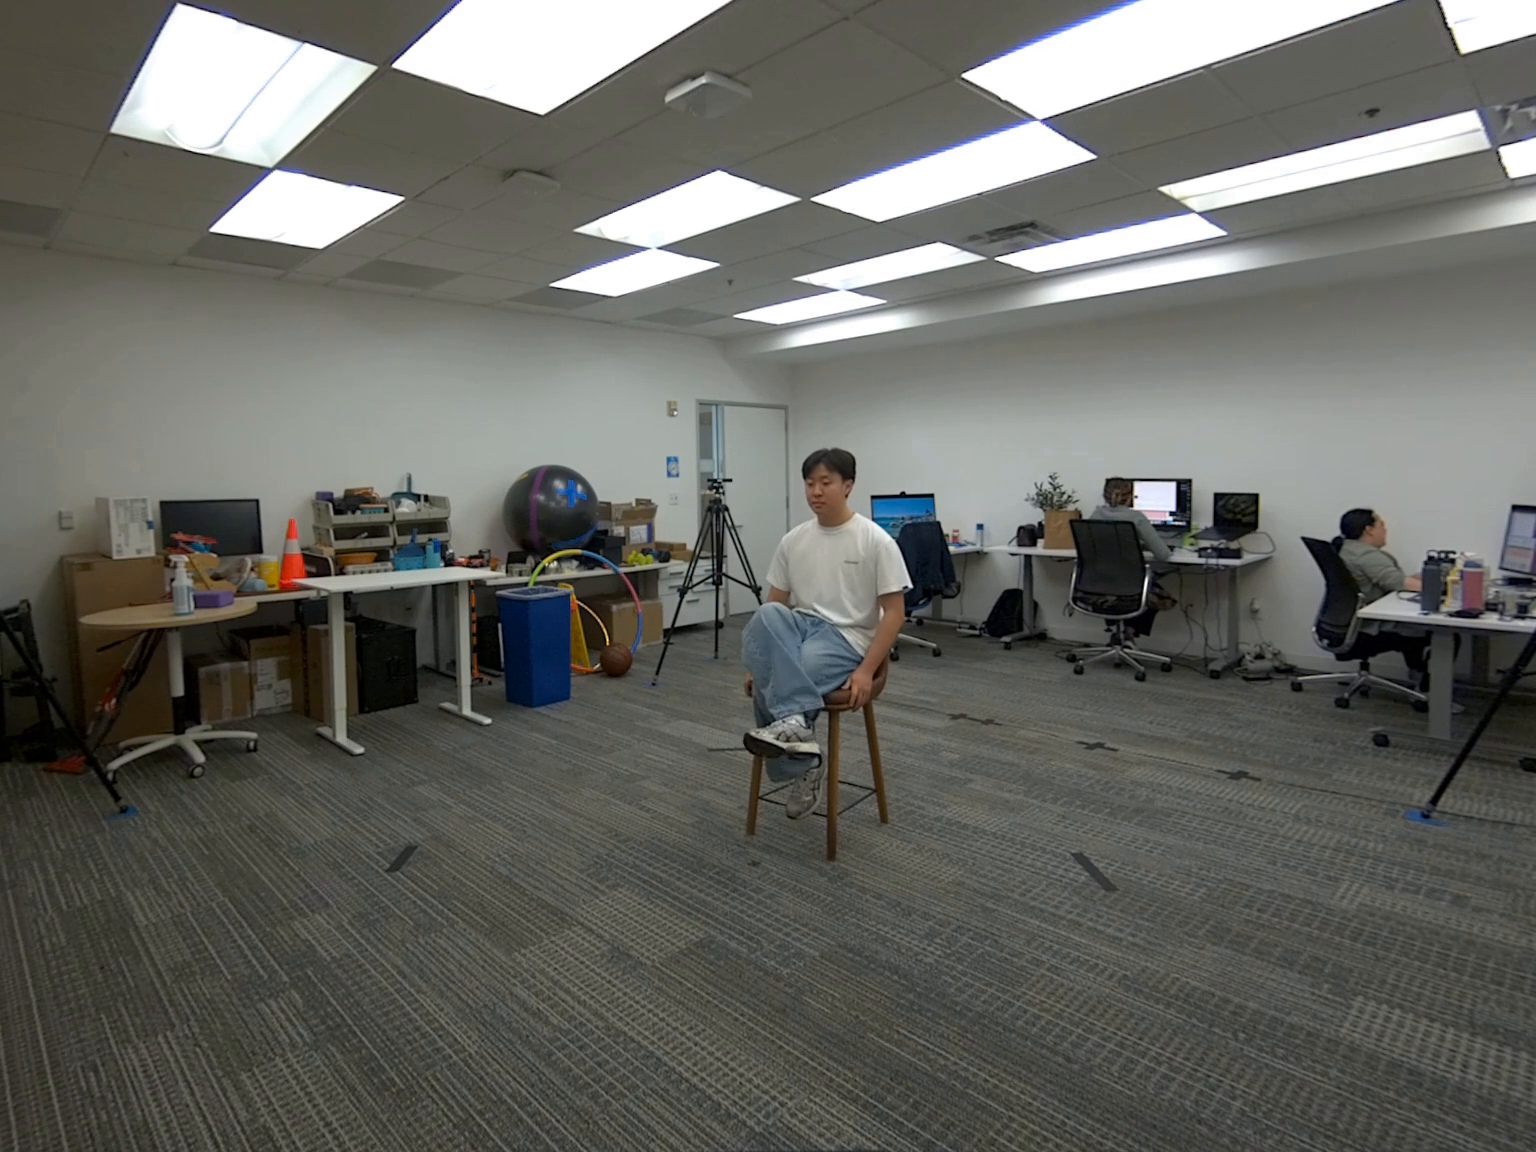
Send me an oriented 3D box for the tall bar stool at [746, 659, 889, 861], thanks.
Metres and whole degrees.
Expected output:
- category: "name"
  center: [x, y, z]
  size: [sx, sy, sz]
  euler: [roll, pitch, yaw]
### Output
- category: "tall bar stool"
  center: [0.212, 0.574, 3.390]
  size: [0.470, 0.888, 0.455]
  euler: [4, 3, 38]
